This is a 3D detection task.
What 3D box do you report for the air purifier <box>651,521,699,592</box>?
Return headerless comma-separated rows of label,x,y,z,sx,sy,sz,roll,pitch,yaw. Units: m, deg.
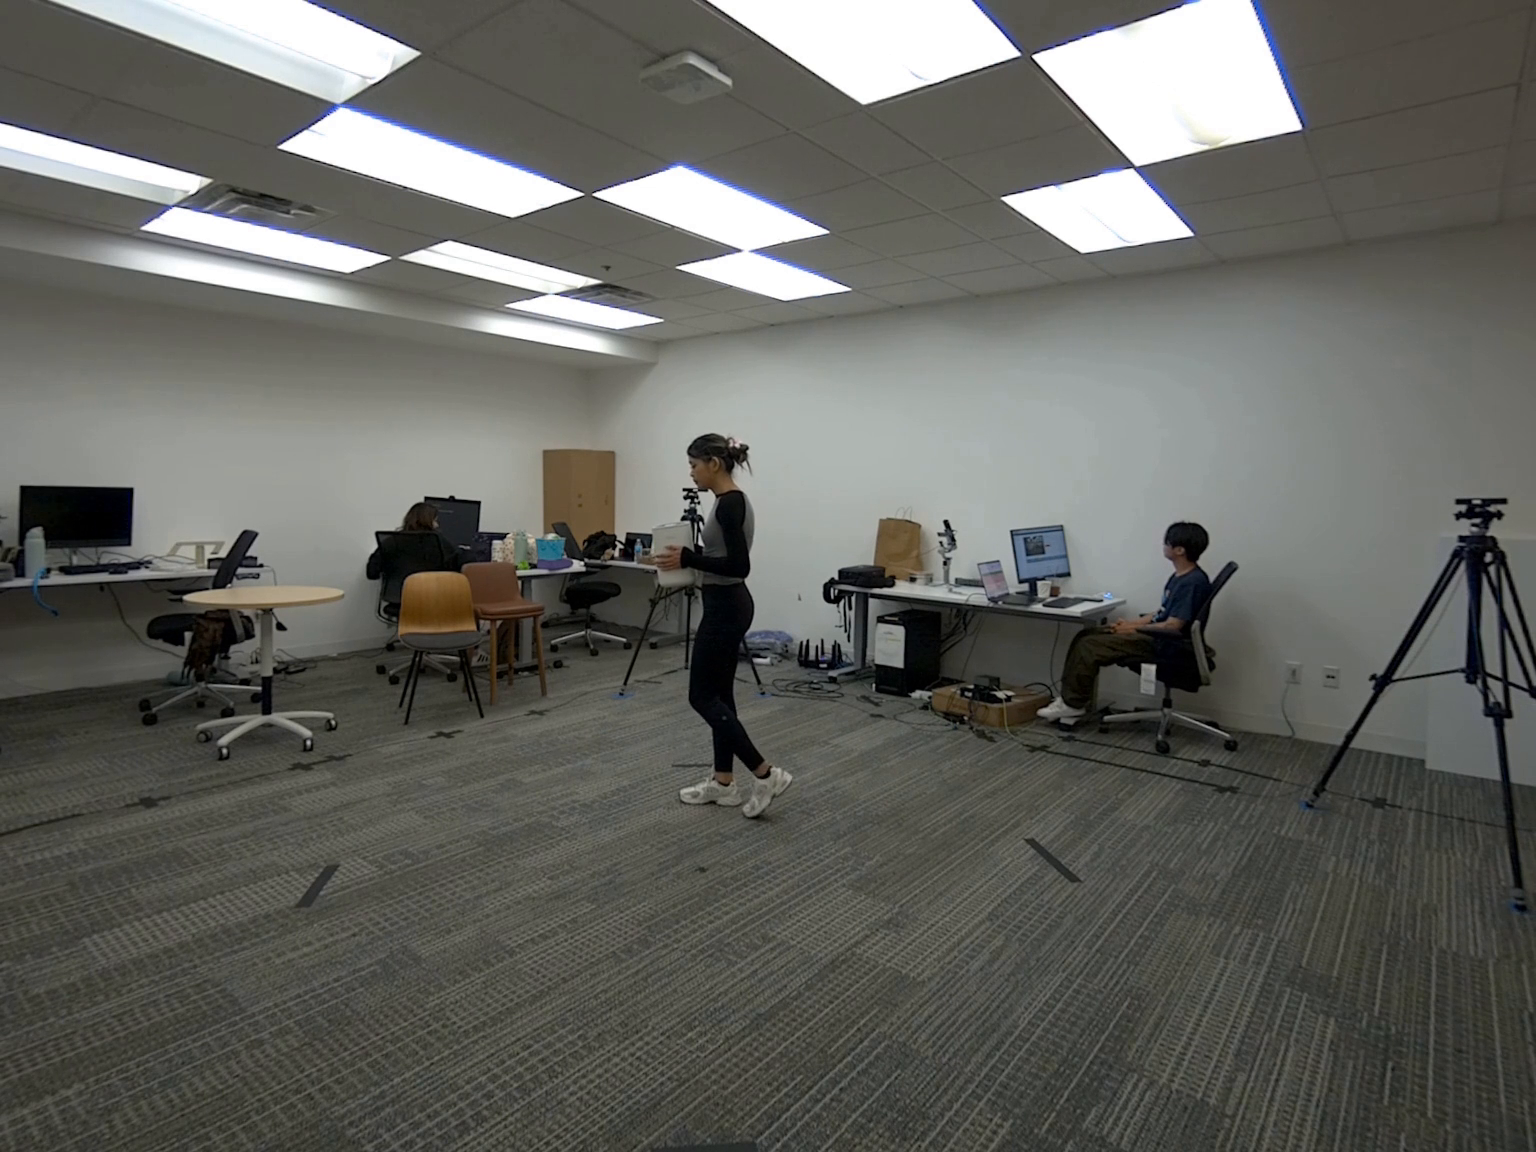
air purifier,-0.417,-0.102,3.746,0.170,0.264,0.173,-7,5,-4
